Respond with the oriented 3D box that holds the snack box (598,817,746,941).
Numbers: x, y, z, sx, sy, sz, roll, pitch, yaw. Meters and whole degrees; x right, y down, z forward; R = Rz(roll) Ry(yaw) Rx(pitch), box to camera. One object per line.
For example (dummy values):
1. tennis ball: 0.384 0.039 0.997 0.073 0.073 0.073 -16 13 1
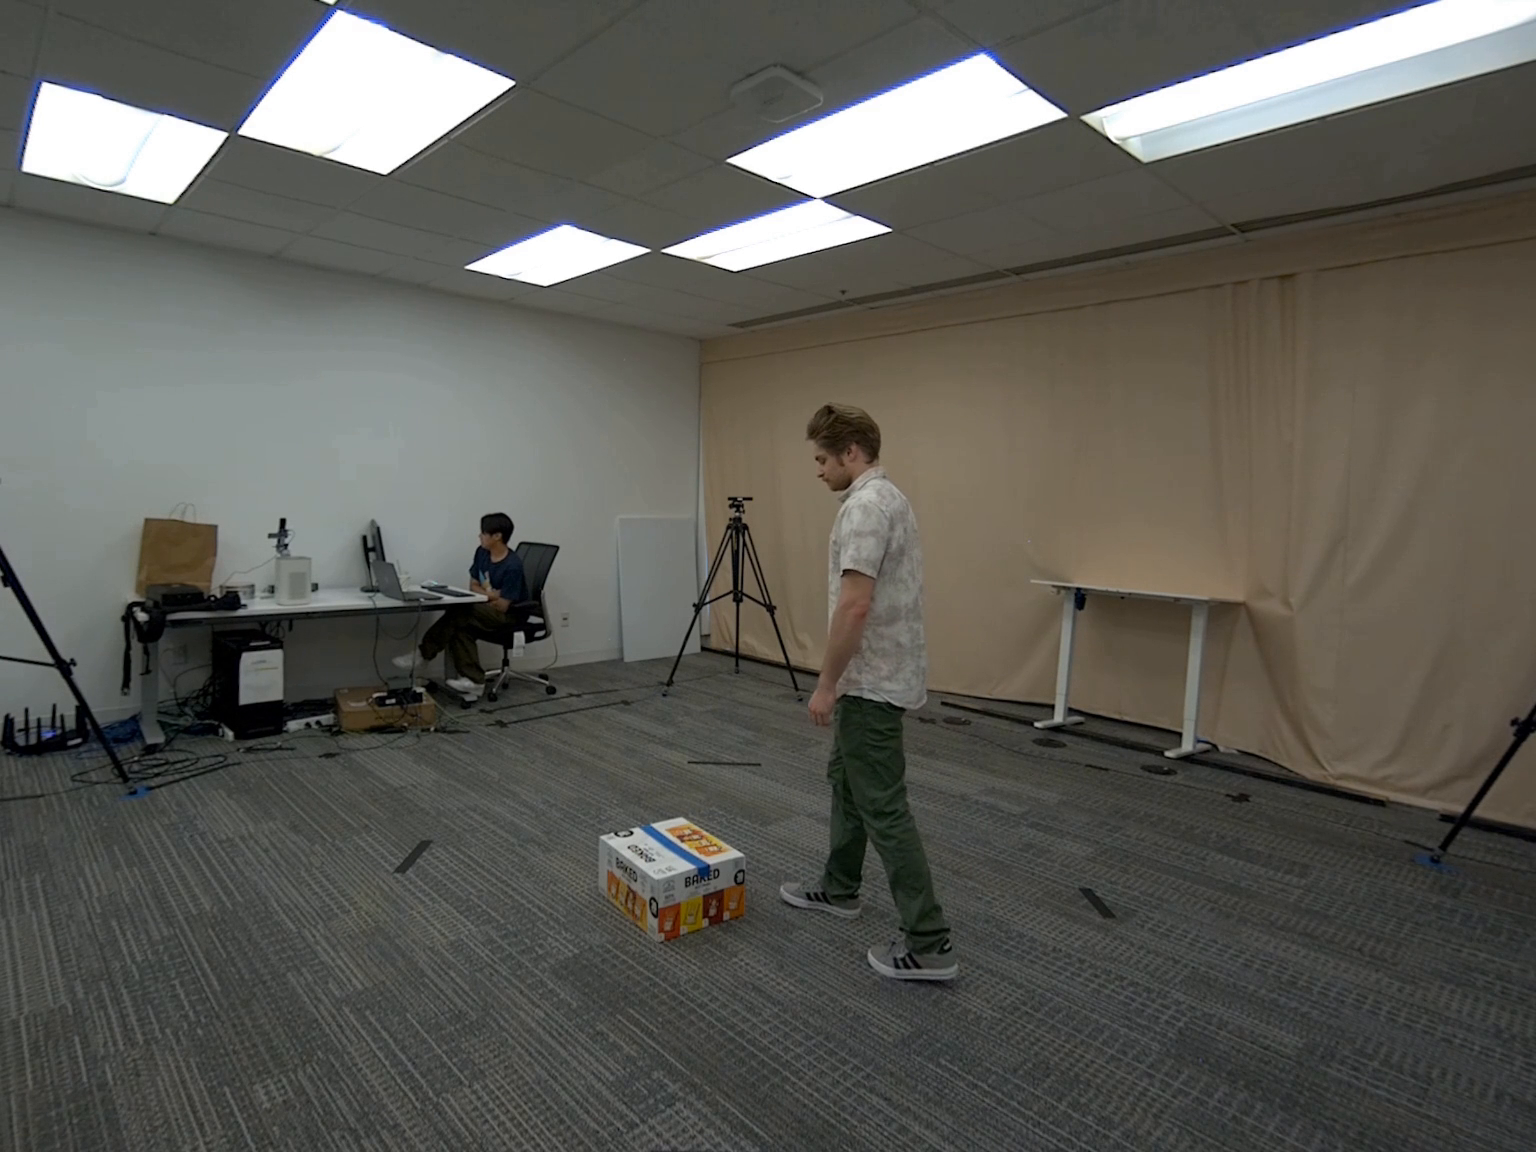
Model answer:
1. snack box: -0.340 1.024 2.874 0.333 0.205 0.415 -2 6 -36
